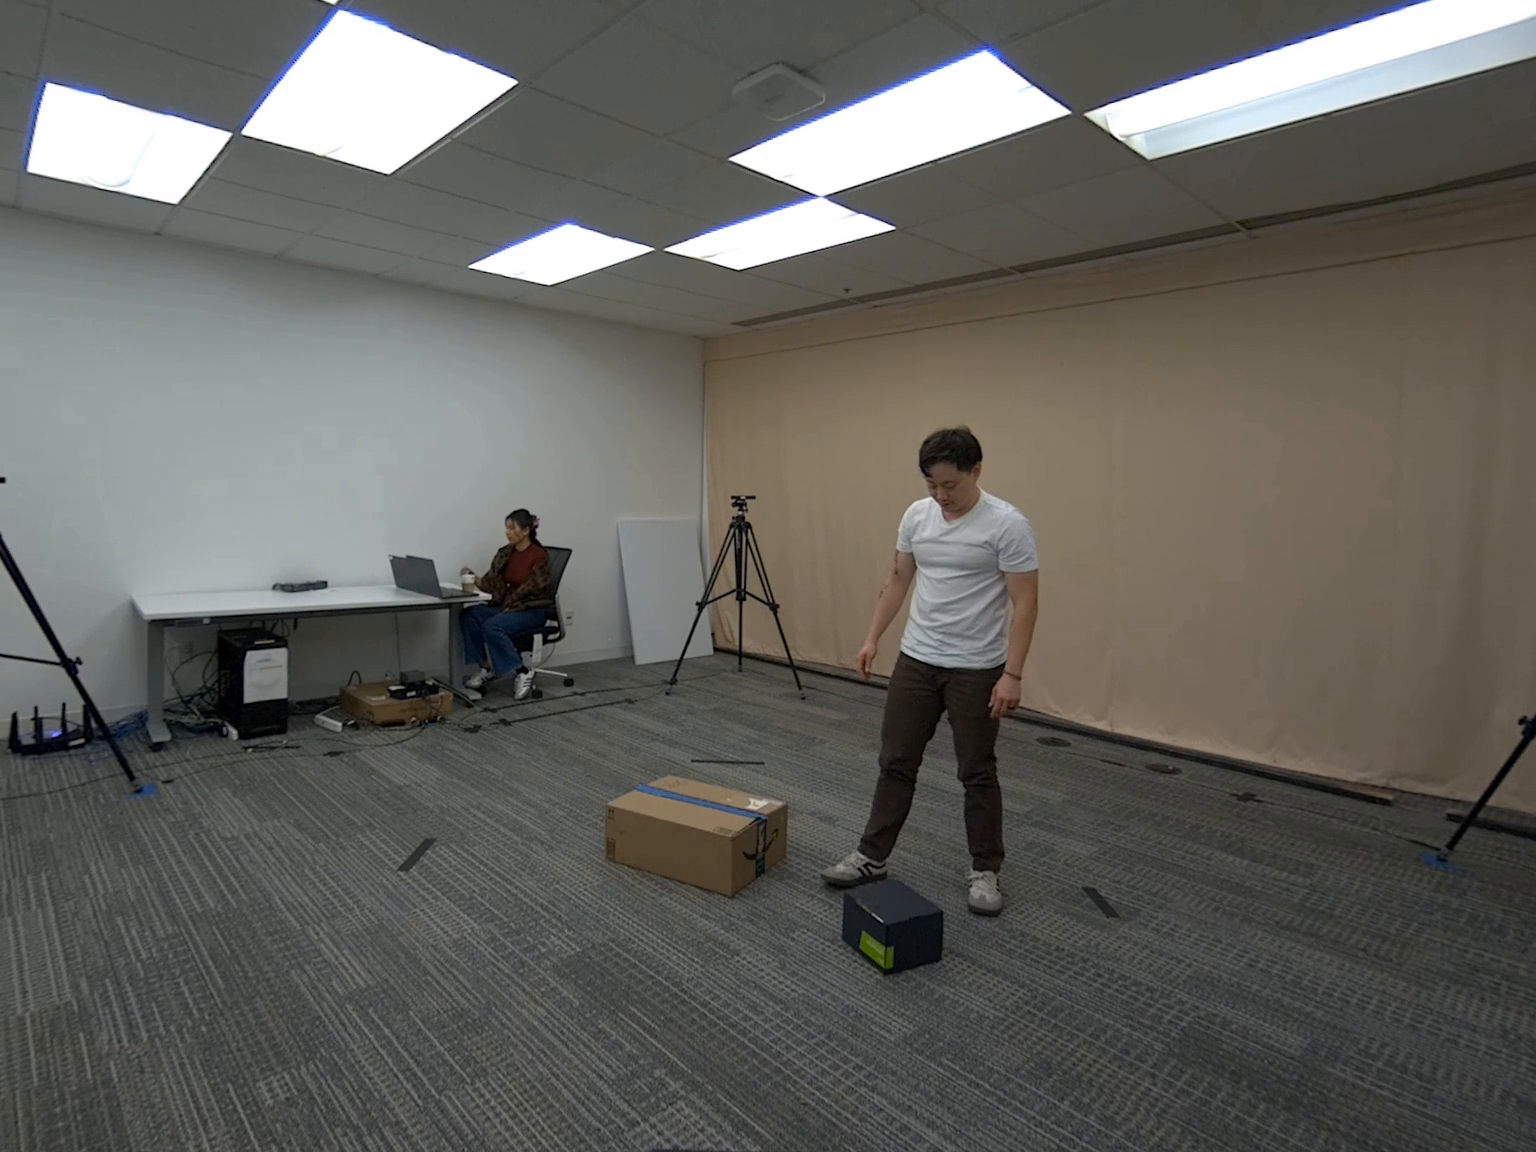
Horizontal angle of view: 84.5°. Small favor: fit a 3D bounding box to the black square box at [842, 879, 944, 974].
[{"bbox_3d":[0.376,1.078,2.601,0.213,0.155,0.233,-1,5,-27],"label":"black square box"}]
